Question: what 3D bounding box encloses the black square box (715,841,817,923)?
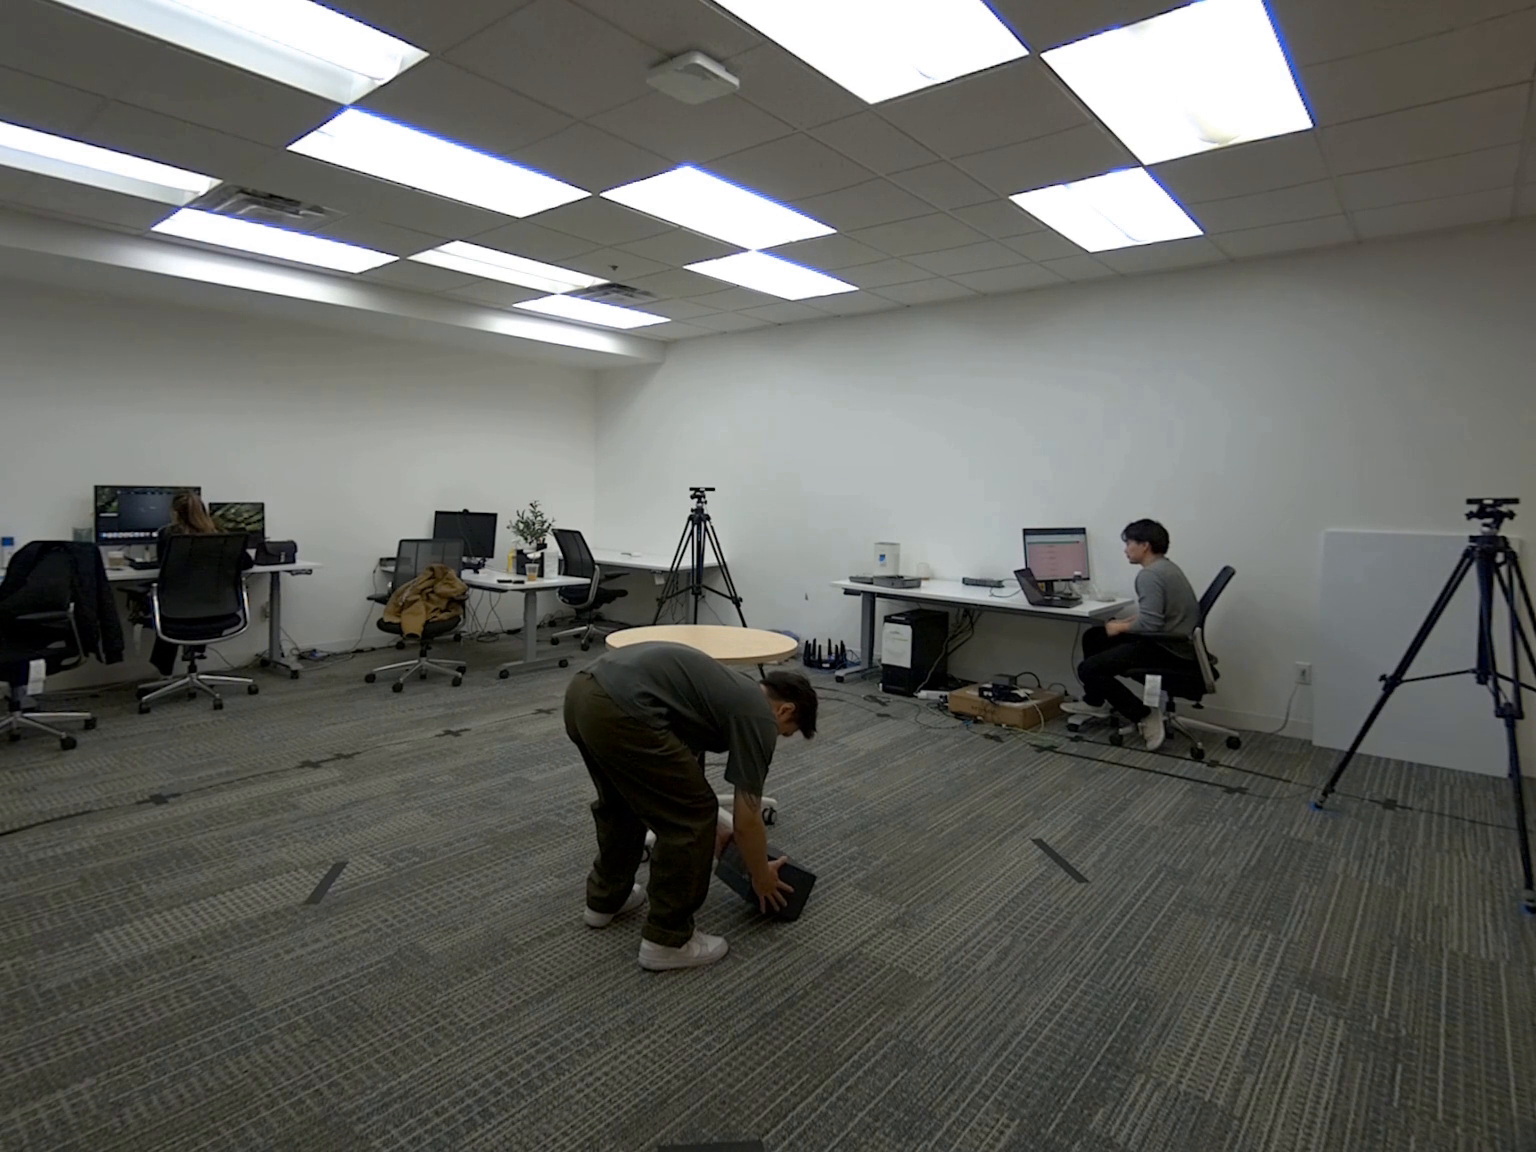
[{"bbox_3d":[-0.022,0.987,2.797,0.220,0.156,0.224,33,-12,-29],"label":"black square box"}]
